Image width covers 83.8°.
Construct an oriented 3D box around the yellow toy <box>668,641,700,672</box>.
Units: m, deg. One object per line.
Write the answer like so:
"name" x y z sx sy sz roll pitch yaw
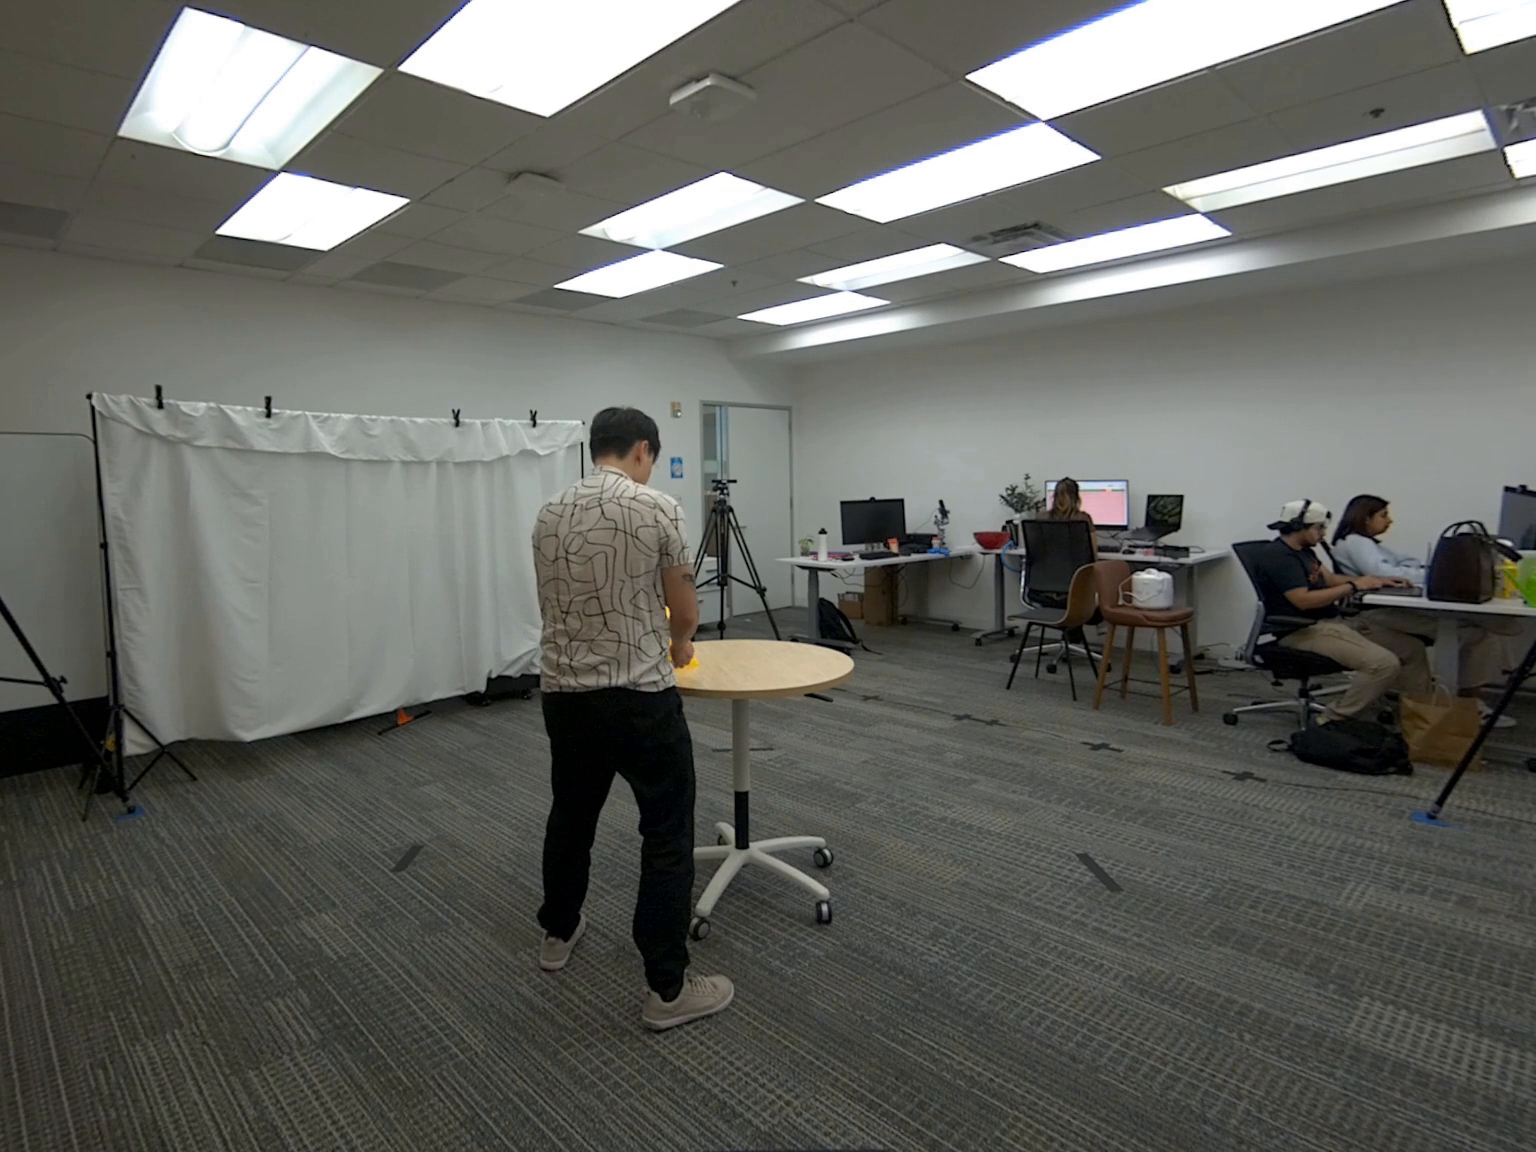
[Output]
"yellow toy" -0.340 0.183 2.861 0.188 0.230 0.211 -3 6 -32
